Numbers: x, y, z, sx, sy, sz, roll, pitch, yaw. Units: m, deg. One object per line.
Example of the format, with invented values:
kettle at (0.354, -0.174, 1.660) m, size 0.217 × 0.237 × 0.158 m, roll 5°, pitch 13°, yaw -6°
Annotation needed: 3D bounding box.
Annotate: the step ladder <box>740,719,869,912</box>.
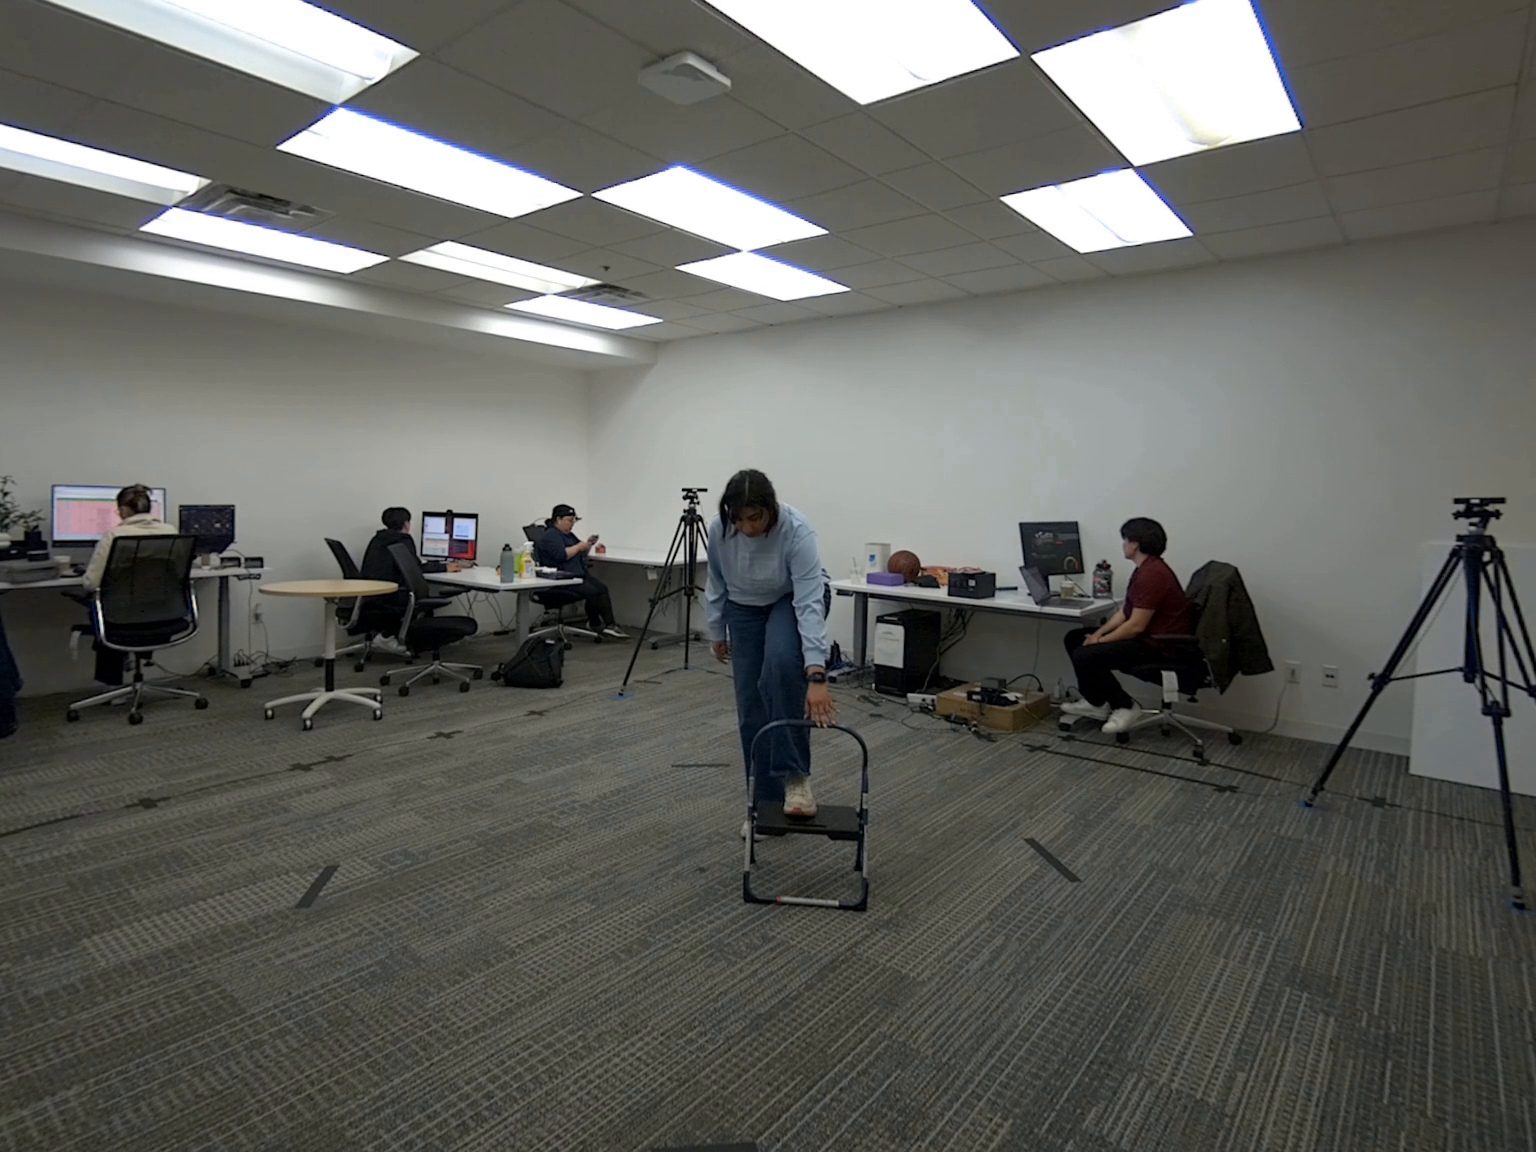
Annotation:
step ladder at (0.130, 0.787, 2.995) m, size 0.433 × 0.605 × 0.348 m, roll 2°, pitch 3°, yaw 4°
